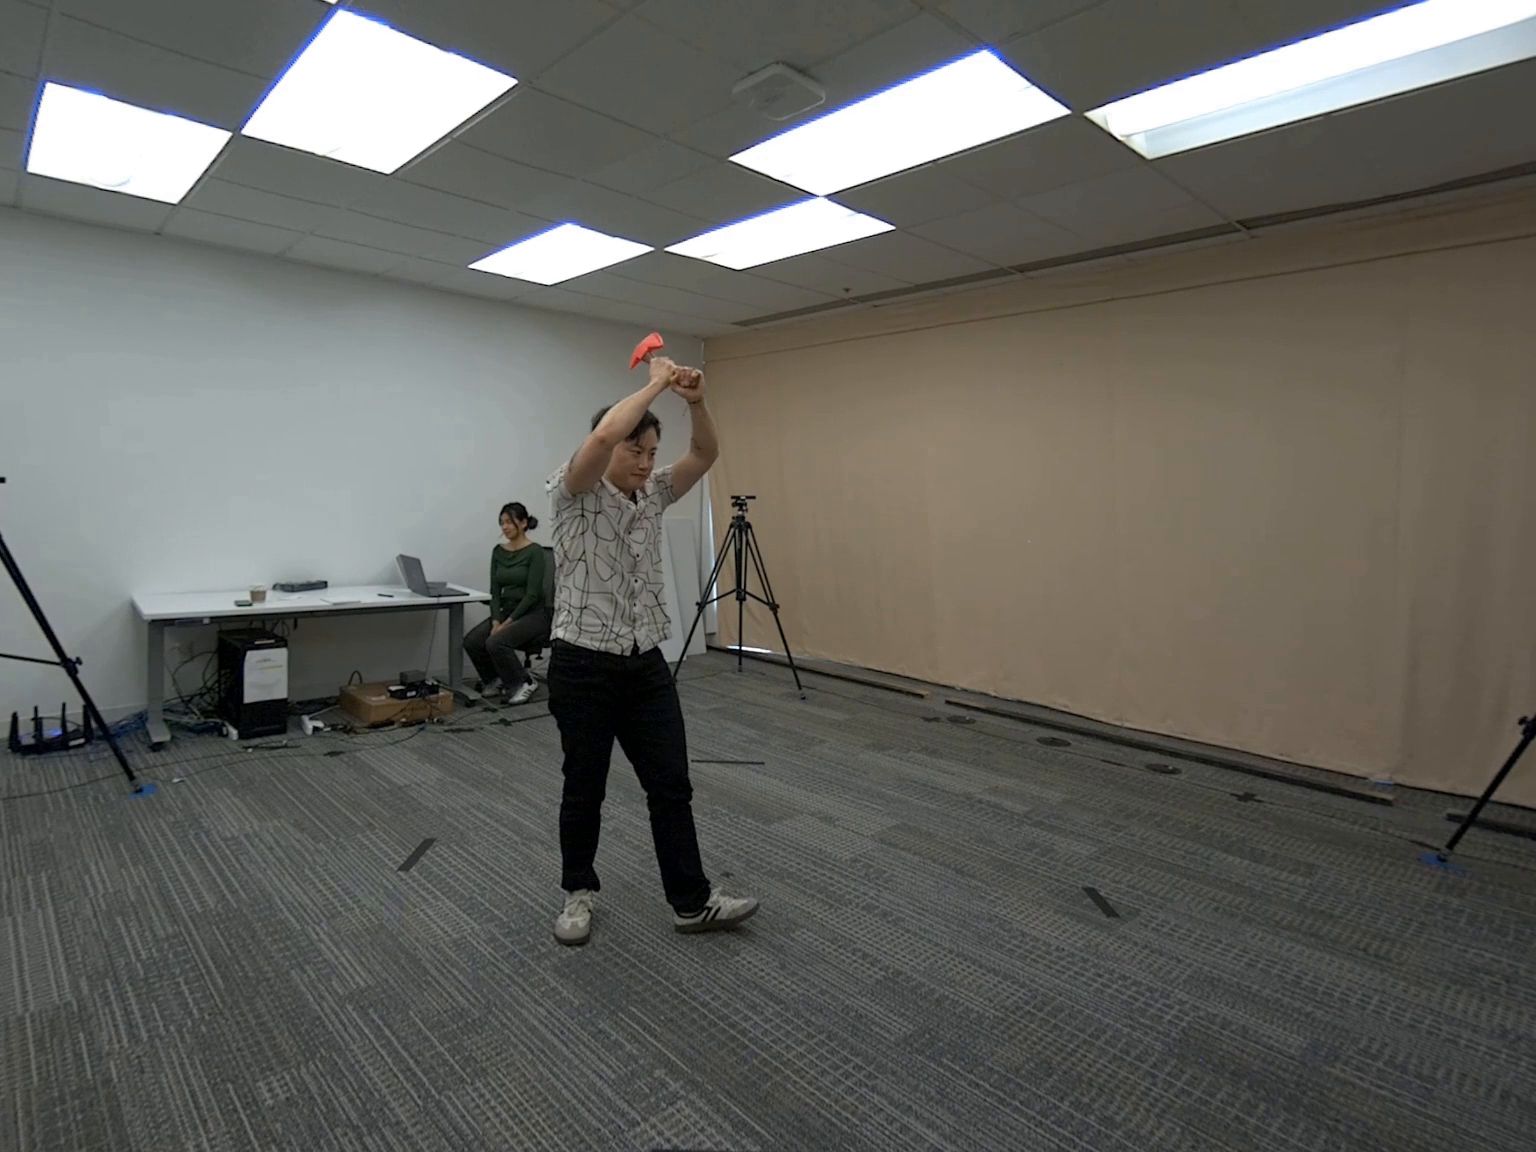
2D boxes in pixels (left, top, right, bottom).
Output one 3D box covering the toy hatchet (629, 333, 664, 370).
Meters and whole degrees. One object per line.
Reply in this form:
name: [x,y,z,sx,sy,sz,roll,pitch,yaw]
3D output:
toy hatchet: [-0.292,-0.650,2.487,0.277,0.131,0.029,21,-4,32]
